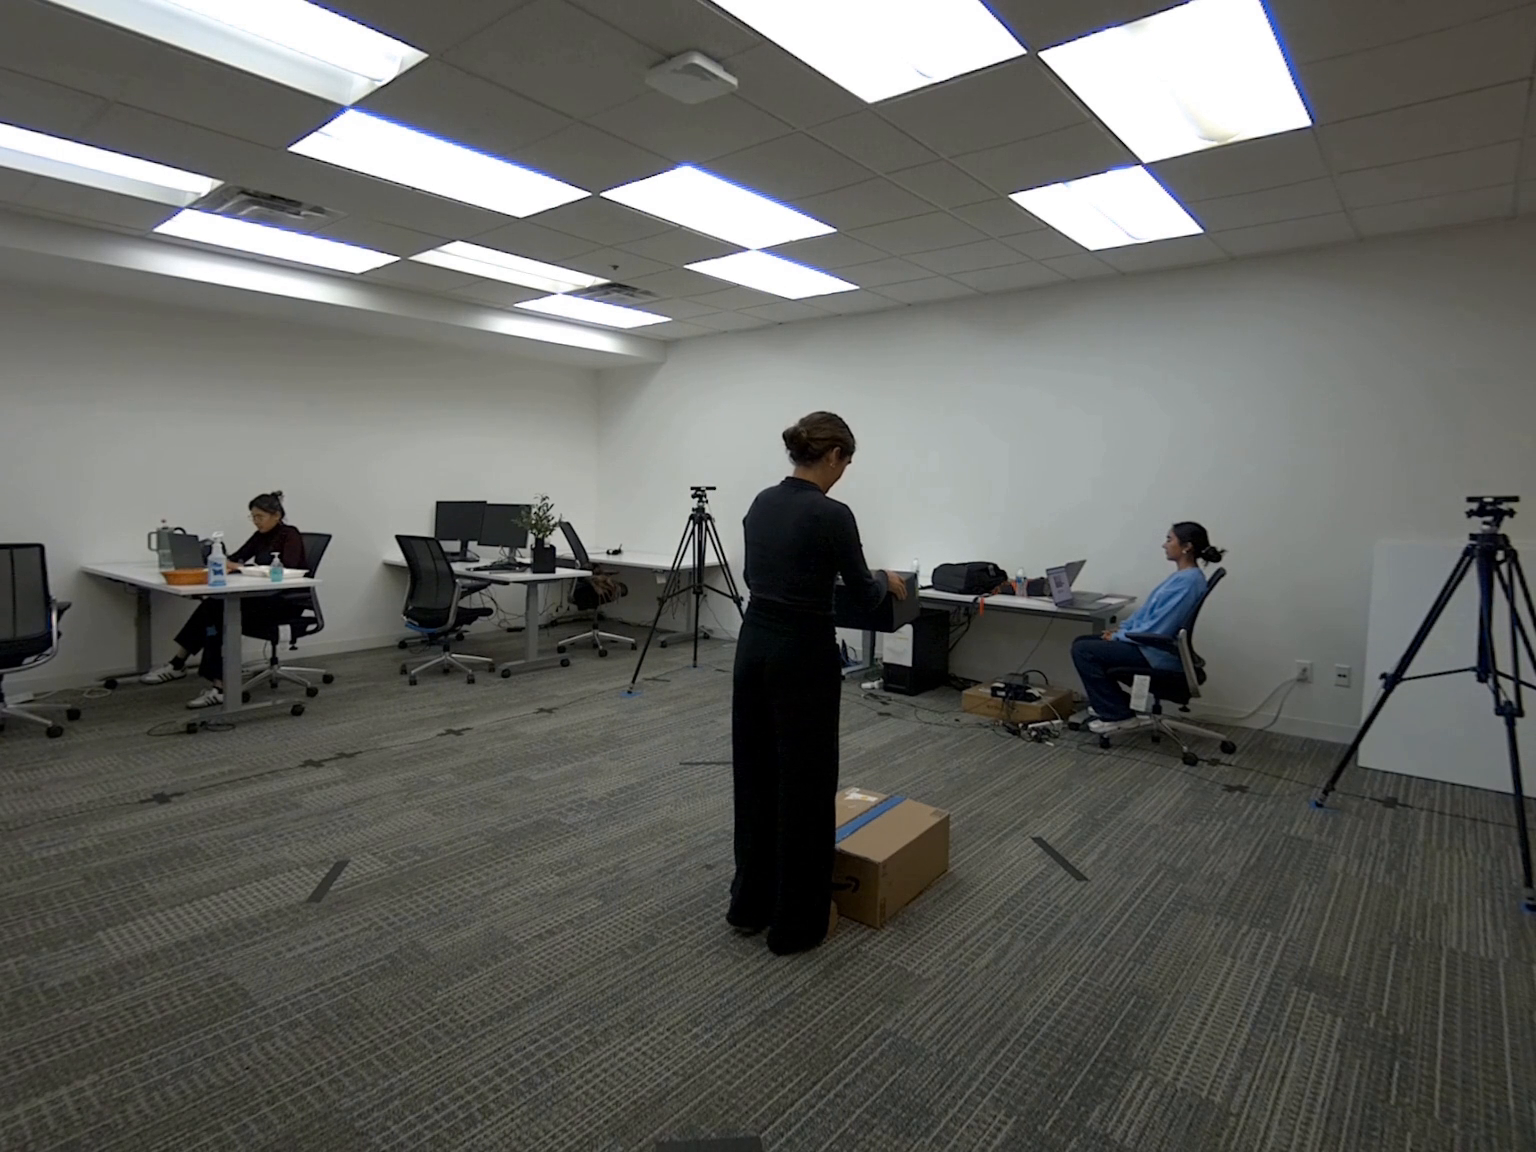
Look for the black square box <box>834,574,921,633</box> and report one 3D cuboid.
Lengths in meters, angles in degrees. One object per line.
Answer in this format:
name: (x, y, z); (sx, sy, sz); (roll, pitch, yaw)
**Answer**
black square box: (0.364, 0.083, 2.929); (0.235, 0.154, 0.213); (3, 15, 36)
